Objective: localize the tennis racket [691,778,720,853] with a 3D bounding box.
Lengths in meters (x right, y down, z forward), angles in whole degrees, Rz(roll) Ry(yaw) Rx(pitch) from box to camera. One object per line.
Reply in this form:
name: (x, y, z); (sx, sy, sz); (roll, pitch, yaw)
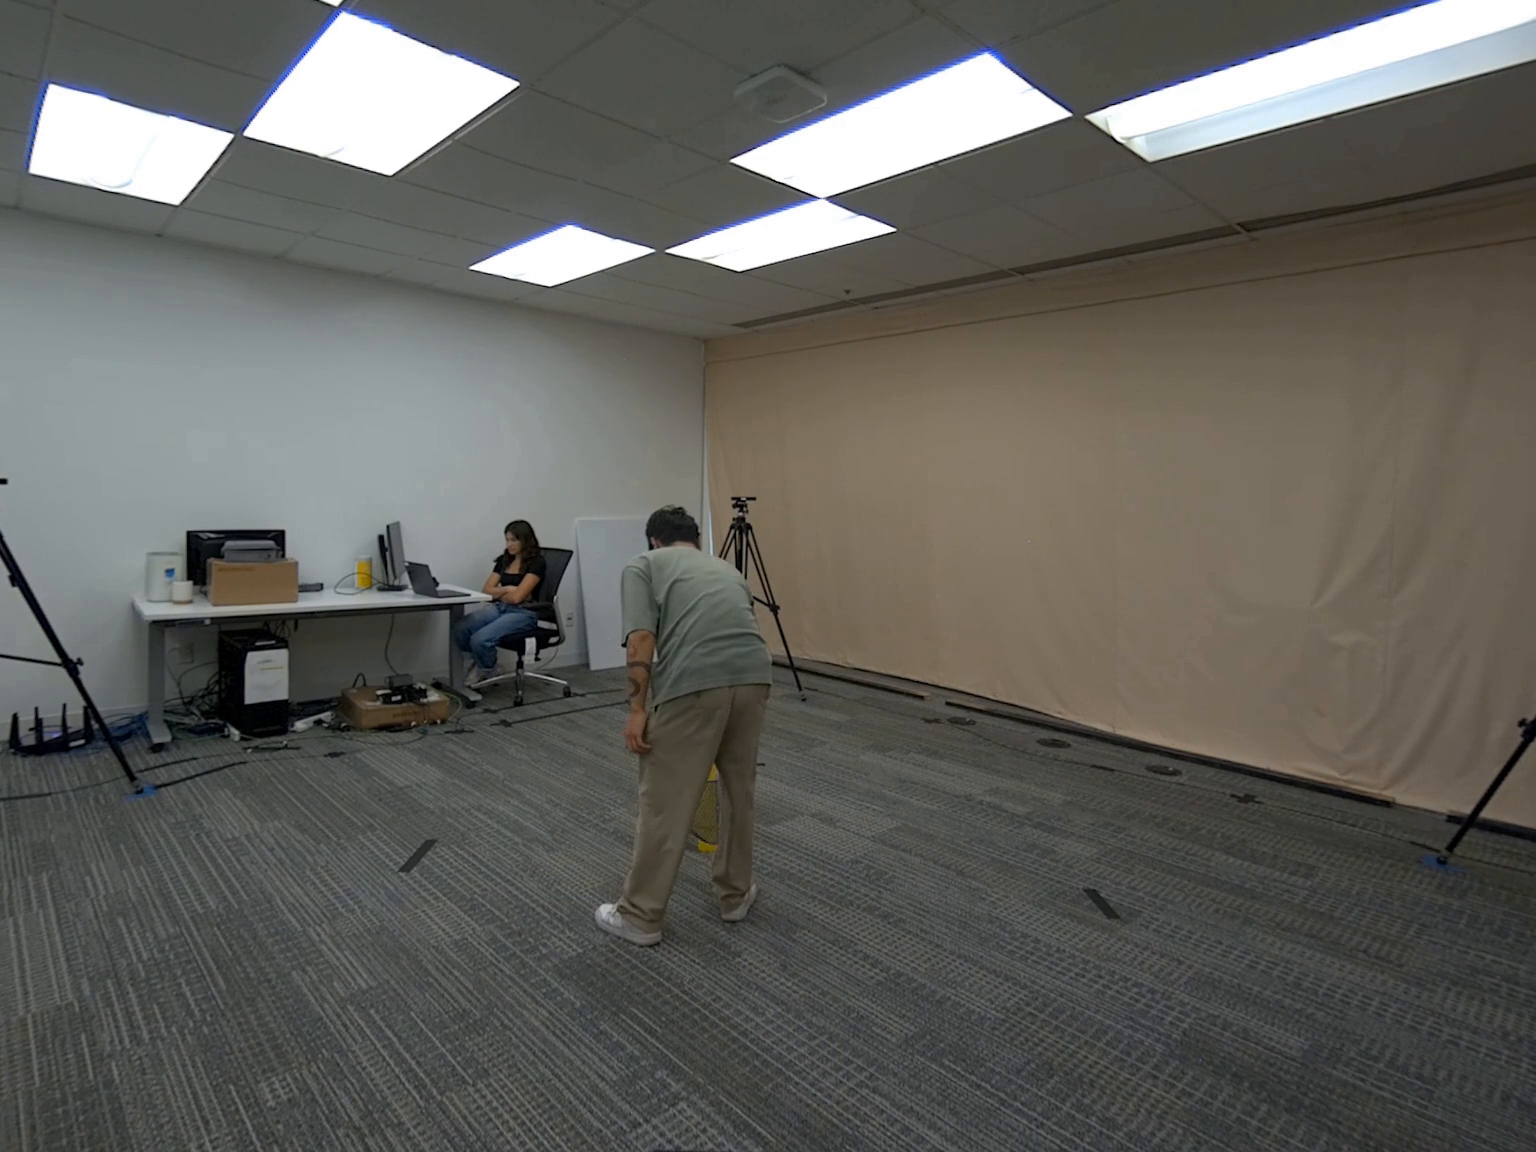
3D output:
tennis racket: (-0.173, 0.804, 3.011); (0.216, 0.430, 0.031); (23, 13, 12)
